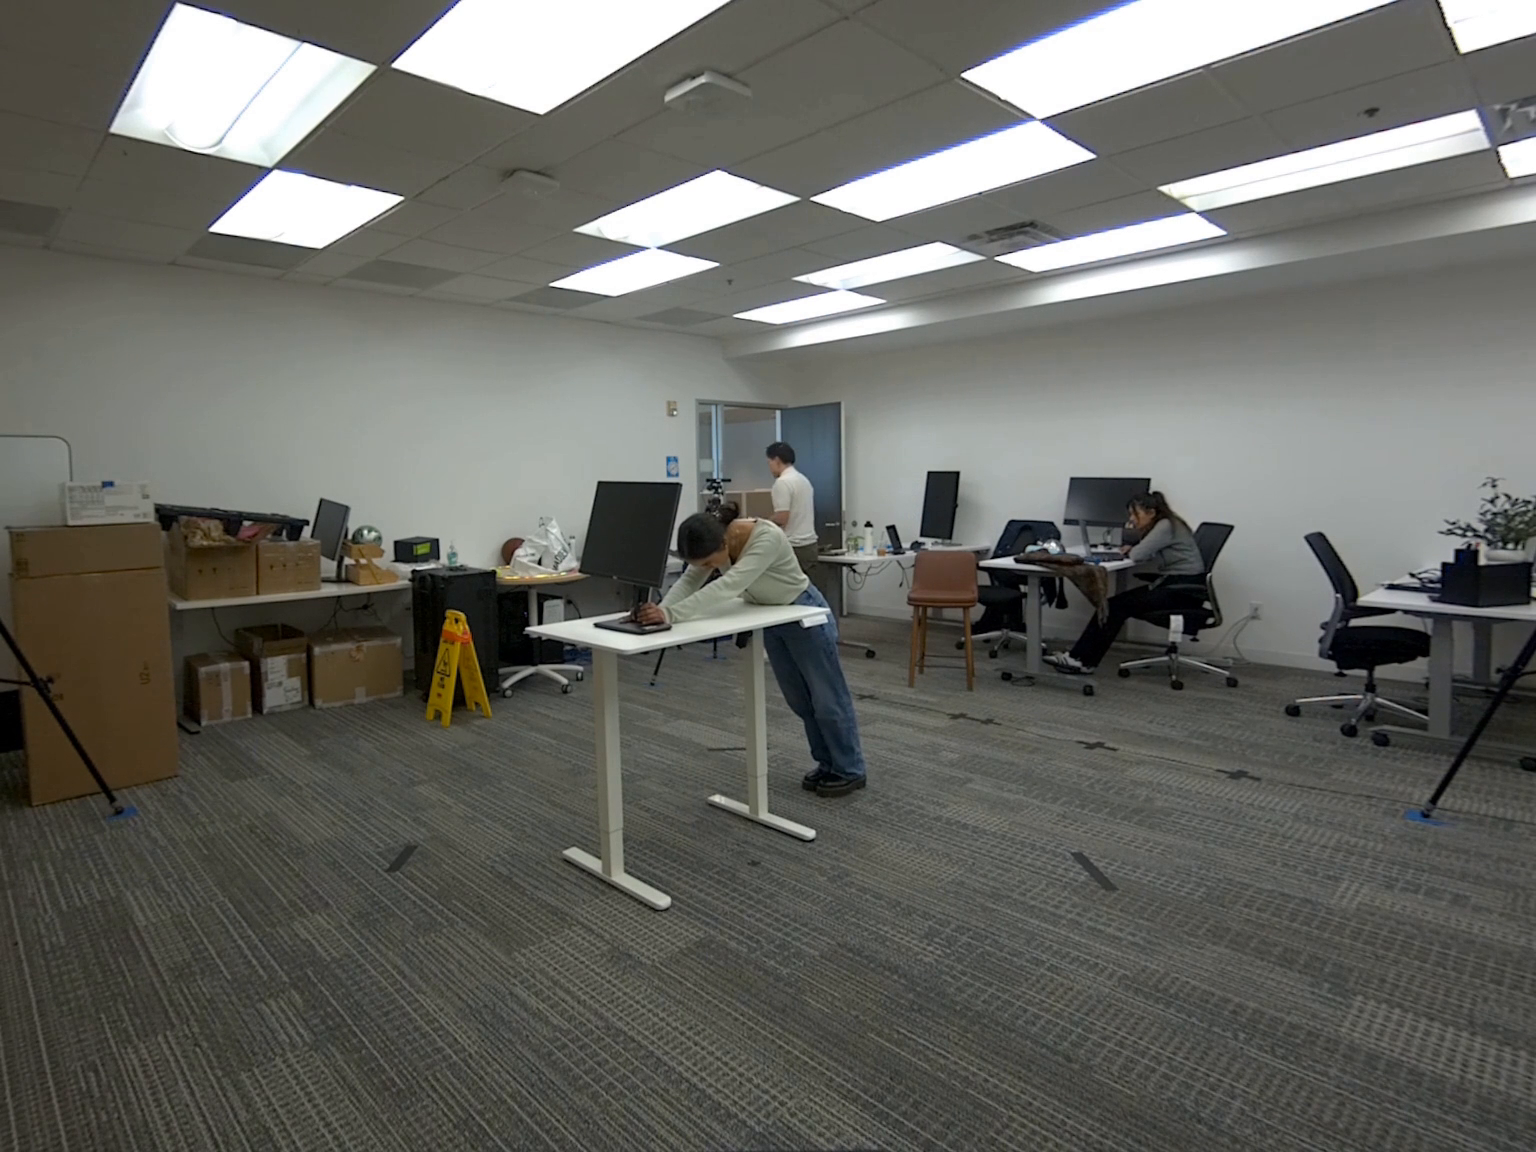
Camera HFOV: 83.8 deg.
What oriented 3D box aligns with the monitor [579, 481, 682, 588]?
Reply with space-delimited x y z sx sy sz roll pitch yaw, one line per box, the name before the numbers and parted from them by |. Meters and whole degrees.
monitor | -0.469 -0.069 2.997 0.182 0.521 0.556 -1 5 -42
